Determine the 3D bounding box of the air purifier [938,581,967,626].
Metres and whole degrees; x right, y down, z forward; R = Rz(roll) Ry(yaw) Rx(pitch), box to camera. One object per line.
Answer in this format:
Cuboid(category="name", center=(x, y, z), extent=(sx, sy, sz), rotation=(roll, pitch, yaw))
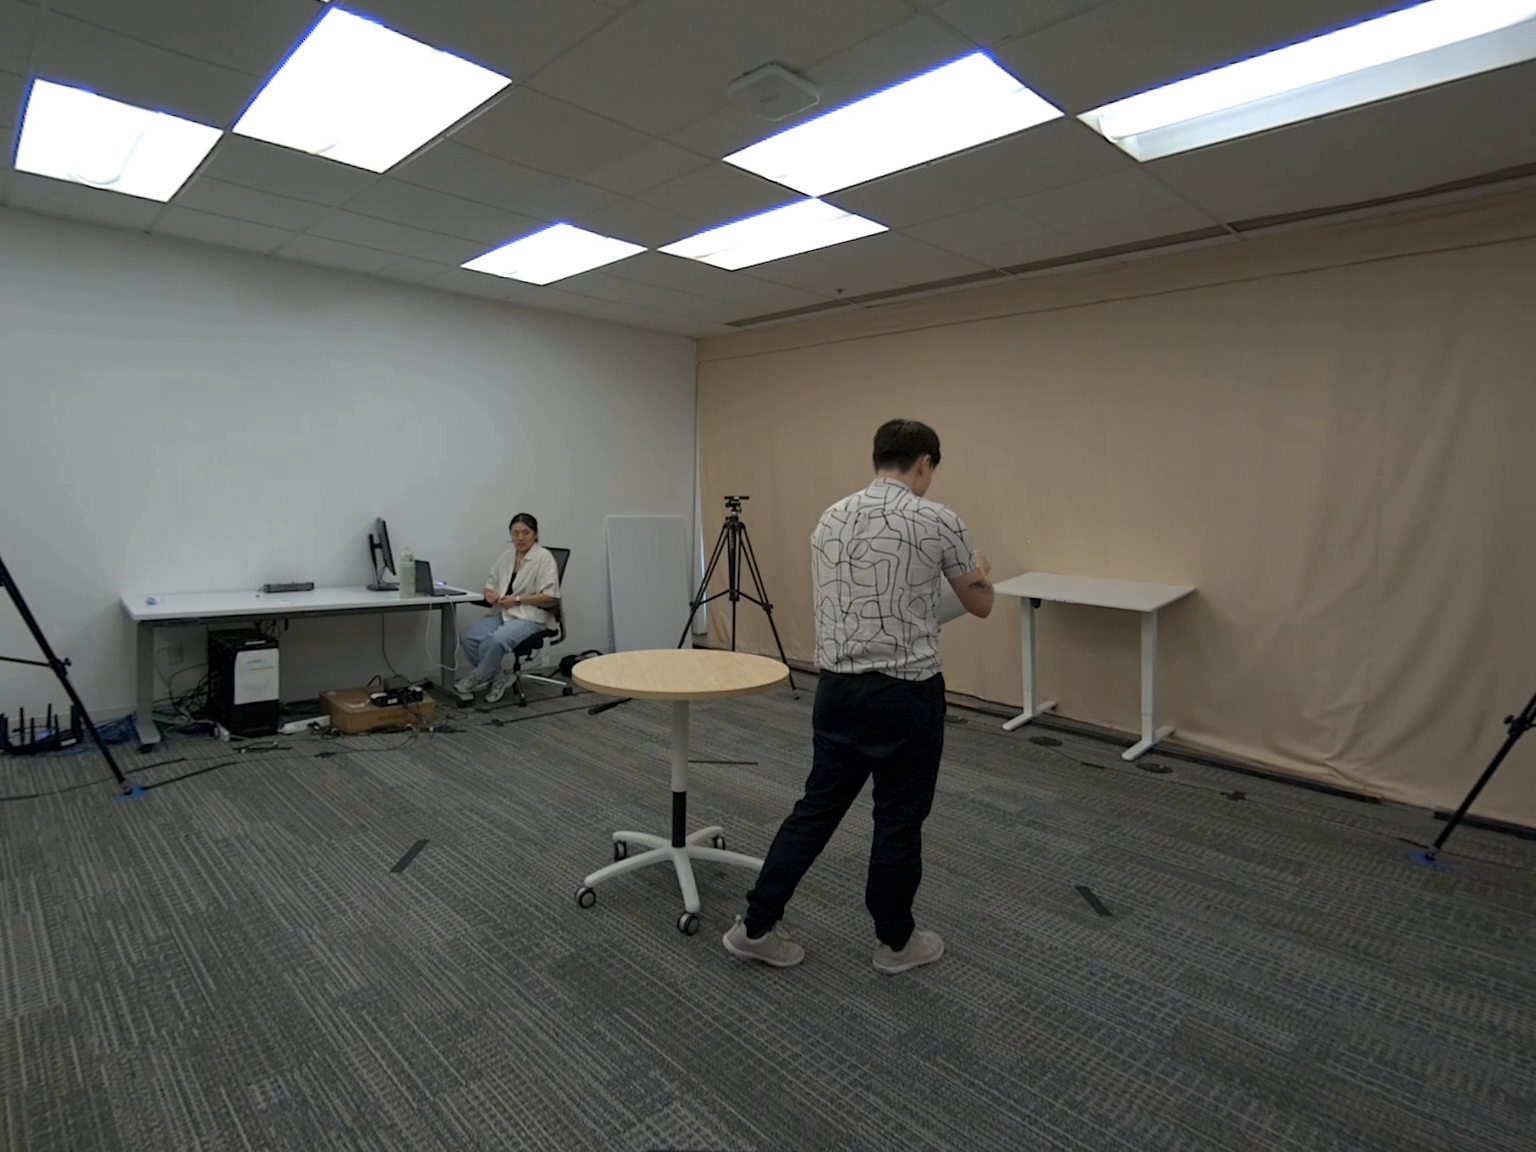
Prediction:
Cuboid(category="air purifier", center=(0.561, 0.065, 2.738), extent=(0.262, 0.174, 0.170), rotation=(-20, -15, -25))
